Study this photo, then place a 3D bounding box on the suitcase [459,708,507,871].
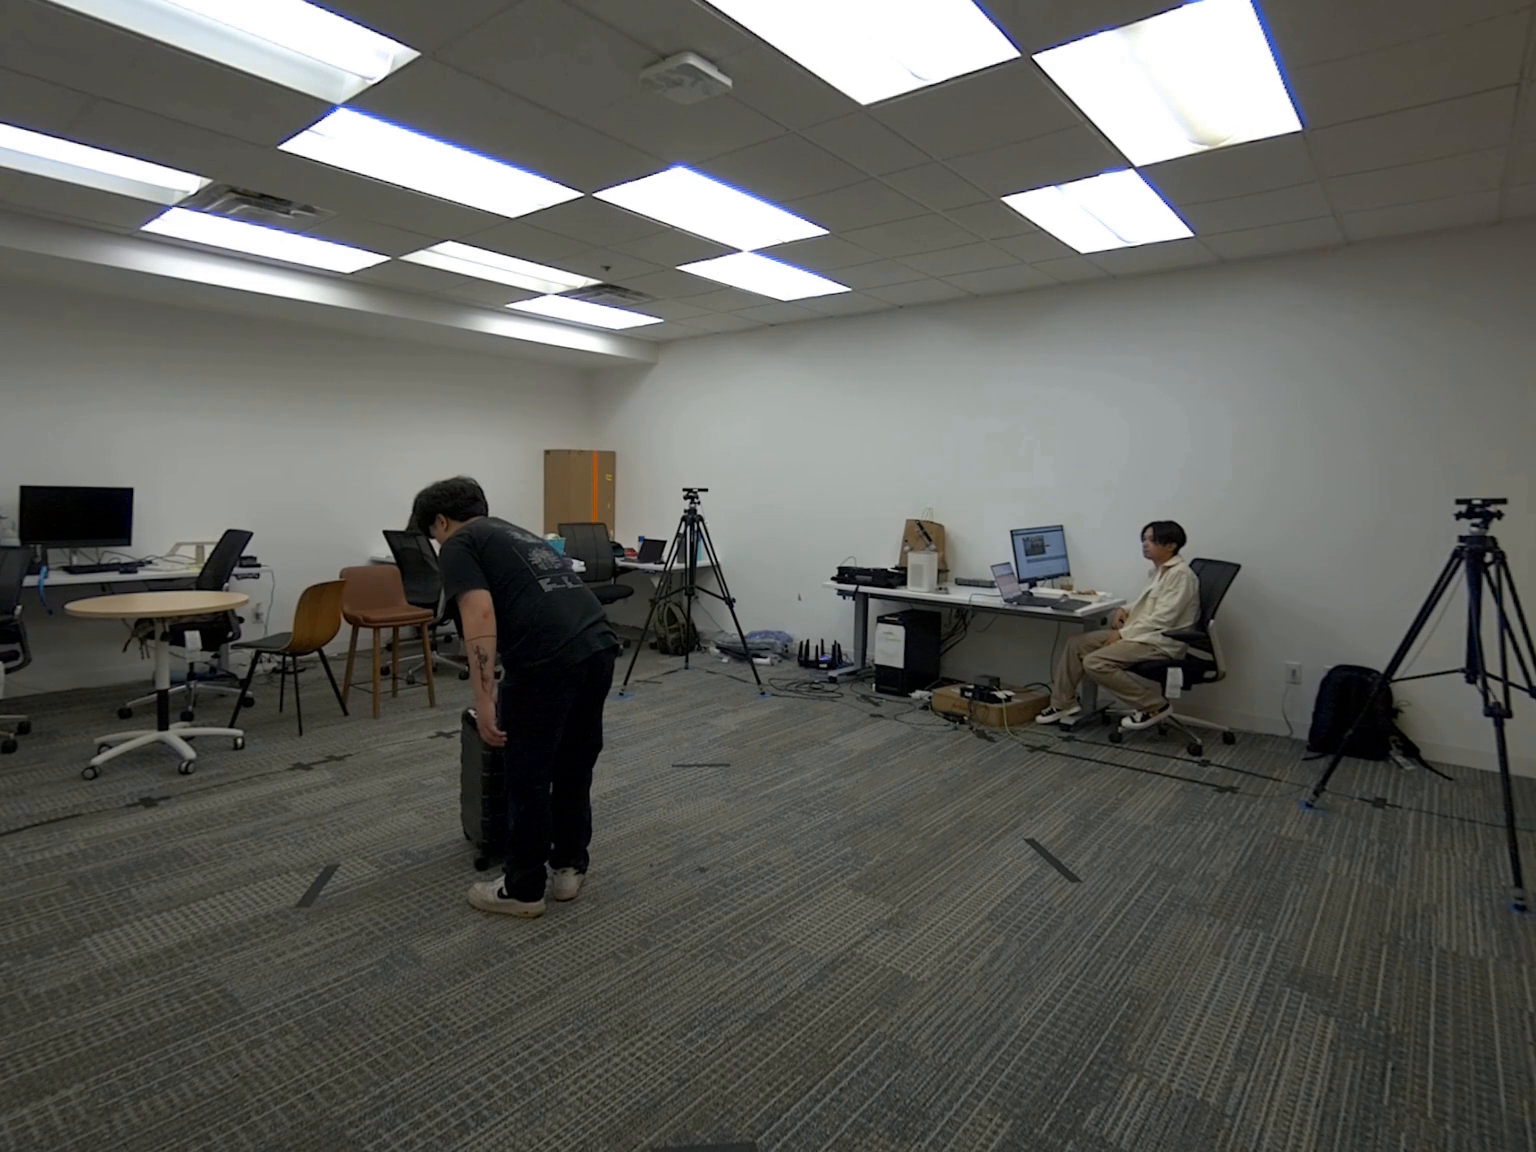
[{"bbox_3d":[-1.035,0.769,3.257,0.242,0.547,0.387,-1,4,-31],"label":"suitcase"}]
